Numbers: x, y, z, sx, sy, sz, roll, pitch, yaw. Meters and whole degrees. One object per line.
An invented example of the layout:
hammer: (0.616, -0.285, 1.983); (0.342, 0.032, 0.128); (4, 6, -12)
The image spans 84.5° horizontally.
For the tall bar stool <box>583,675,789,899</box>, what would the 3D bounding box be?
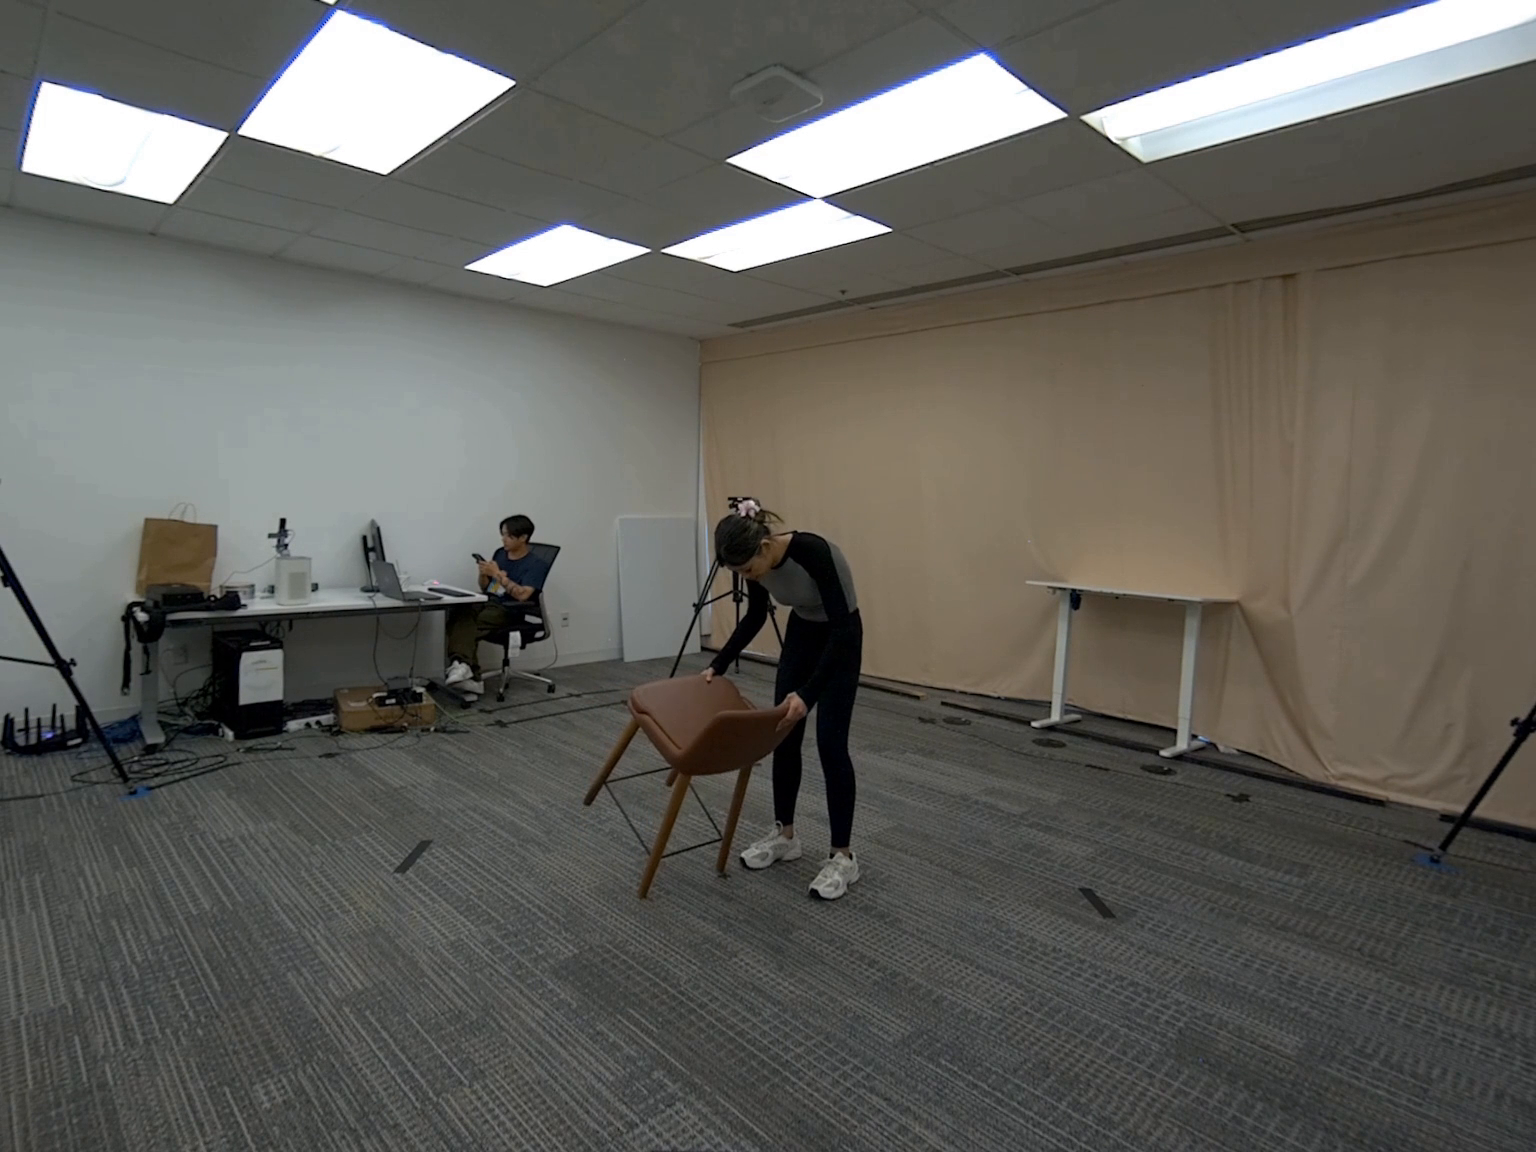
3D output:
tall bar stool: (-0.274, 0.637, 2.964); (0.446, 0.882, 0.482); (-1, 37, -41)
